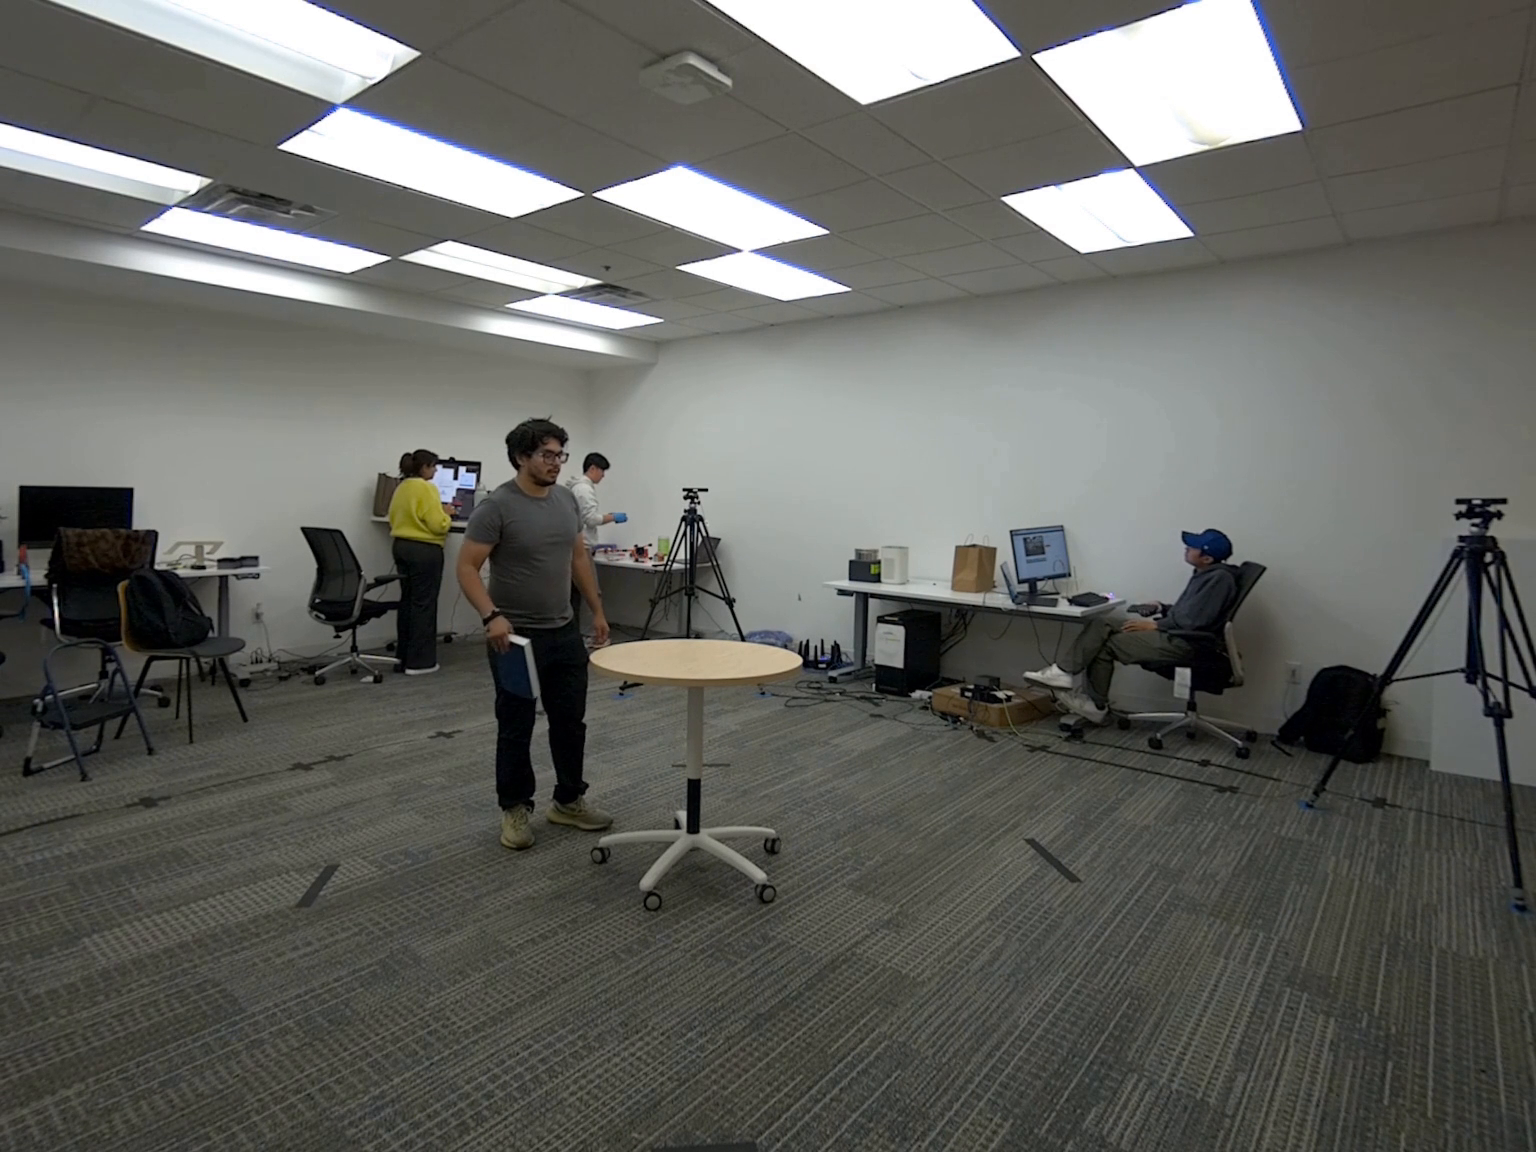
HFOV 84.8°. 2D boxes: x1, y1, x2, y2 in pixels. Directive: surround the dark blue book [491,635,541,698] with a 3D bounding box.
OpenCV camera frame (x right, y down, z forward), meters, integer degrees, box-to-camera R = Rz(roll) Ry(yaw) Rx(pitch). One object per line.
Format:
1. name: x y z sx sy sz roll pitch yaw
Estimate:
1. dark blue book: -0.936 0.313 3.092 0.169 0.239 0.045 12 32 30
